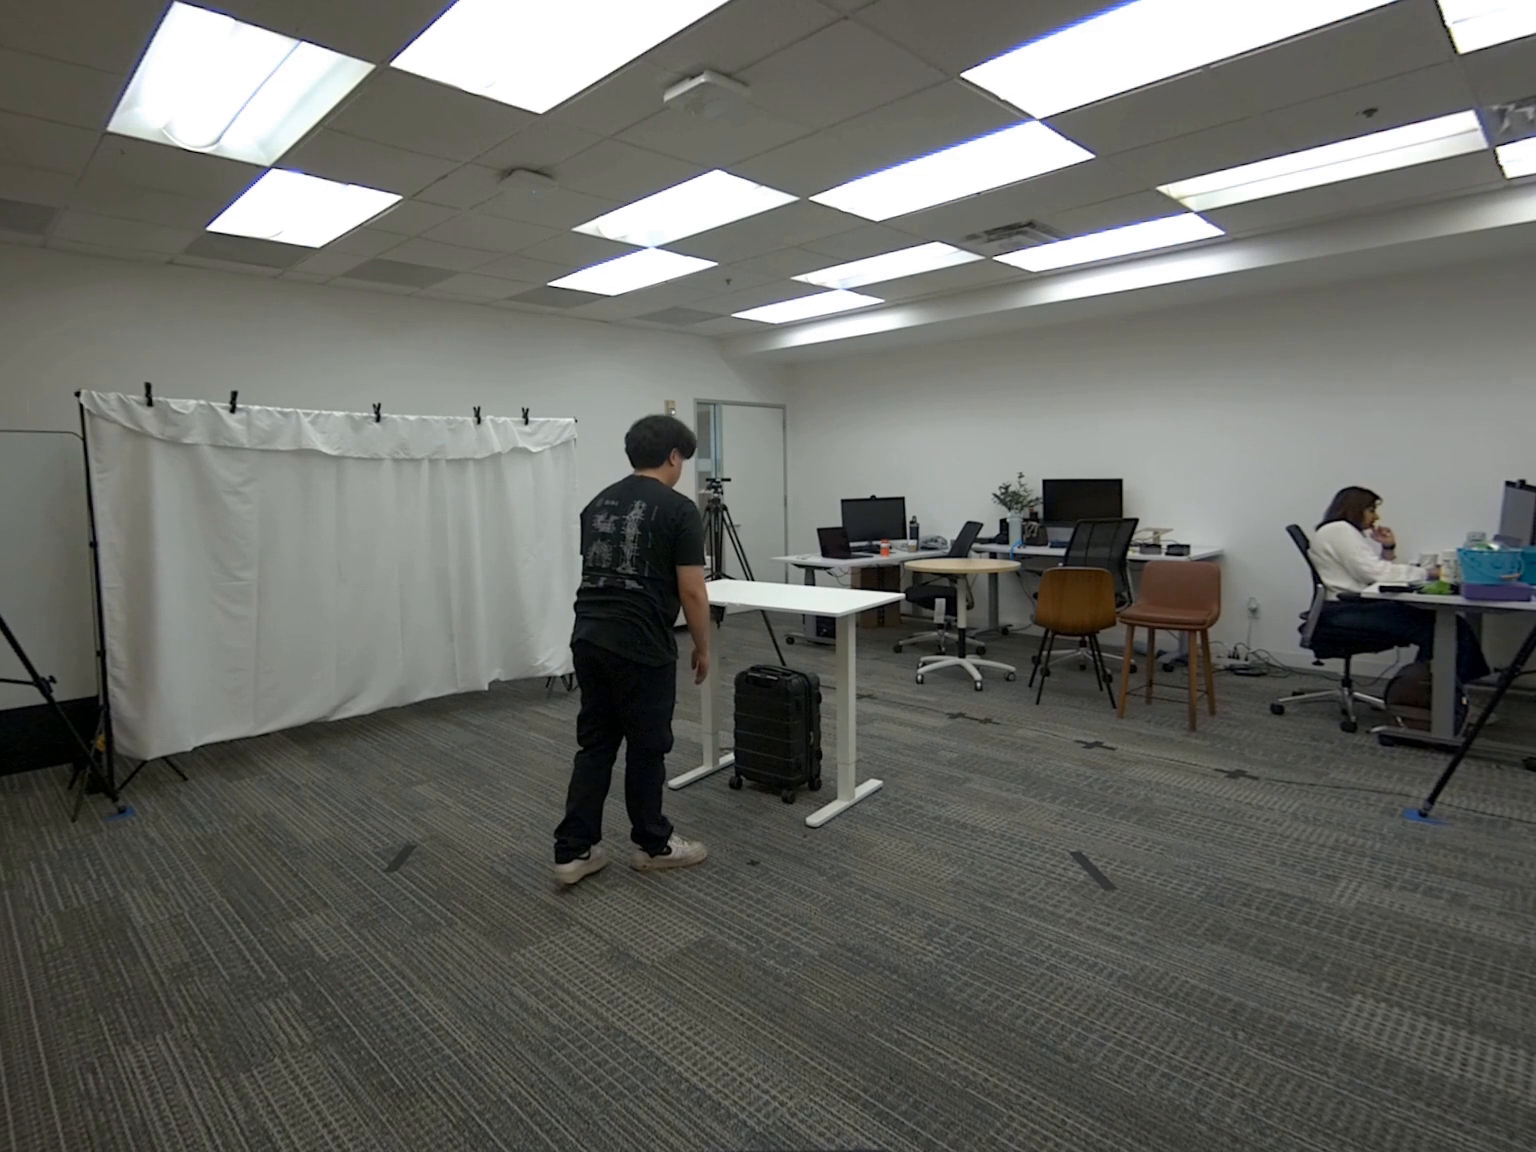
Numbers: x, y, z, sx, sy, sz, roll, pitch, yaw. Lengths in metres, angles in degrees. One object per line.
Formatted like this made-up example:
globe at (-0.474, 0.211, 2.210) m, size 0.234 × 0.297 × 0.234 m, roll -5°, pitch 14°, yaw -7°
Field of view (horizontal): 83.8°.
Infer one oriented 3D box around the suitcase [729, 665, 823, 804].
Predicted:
suitcase at (0.044, 0.690, 3.852) m, size 0.387 × 0.548 × 0.241 m, roll 4°, pitch 3°, yaw 37°
